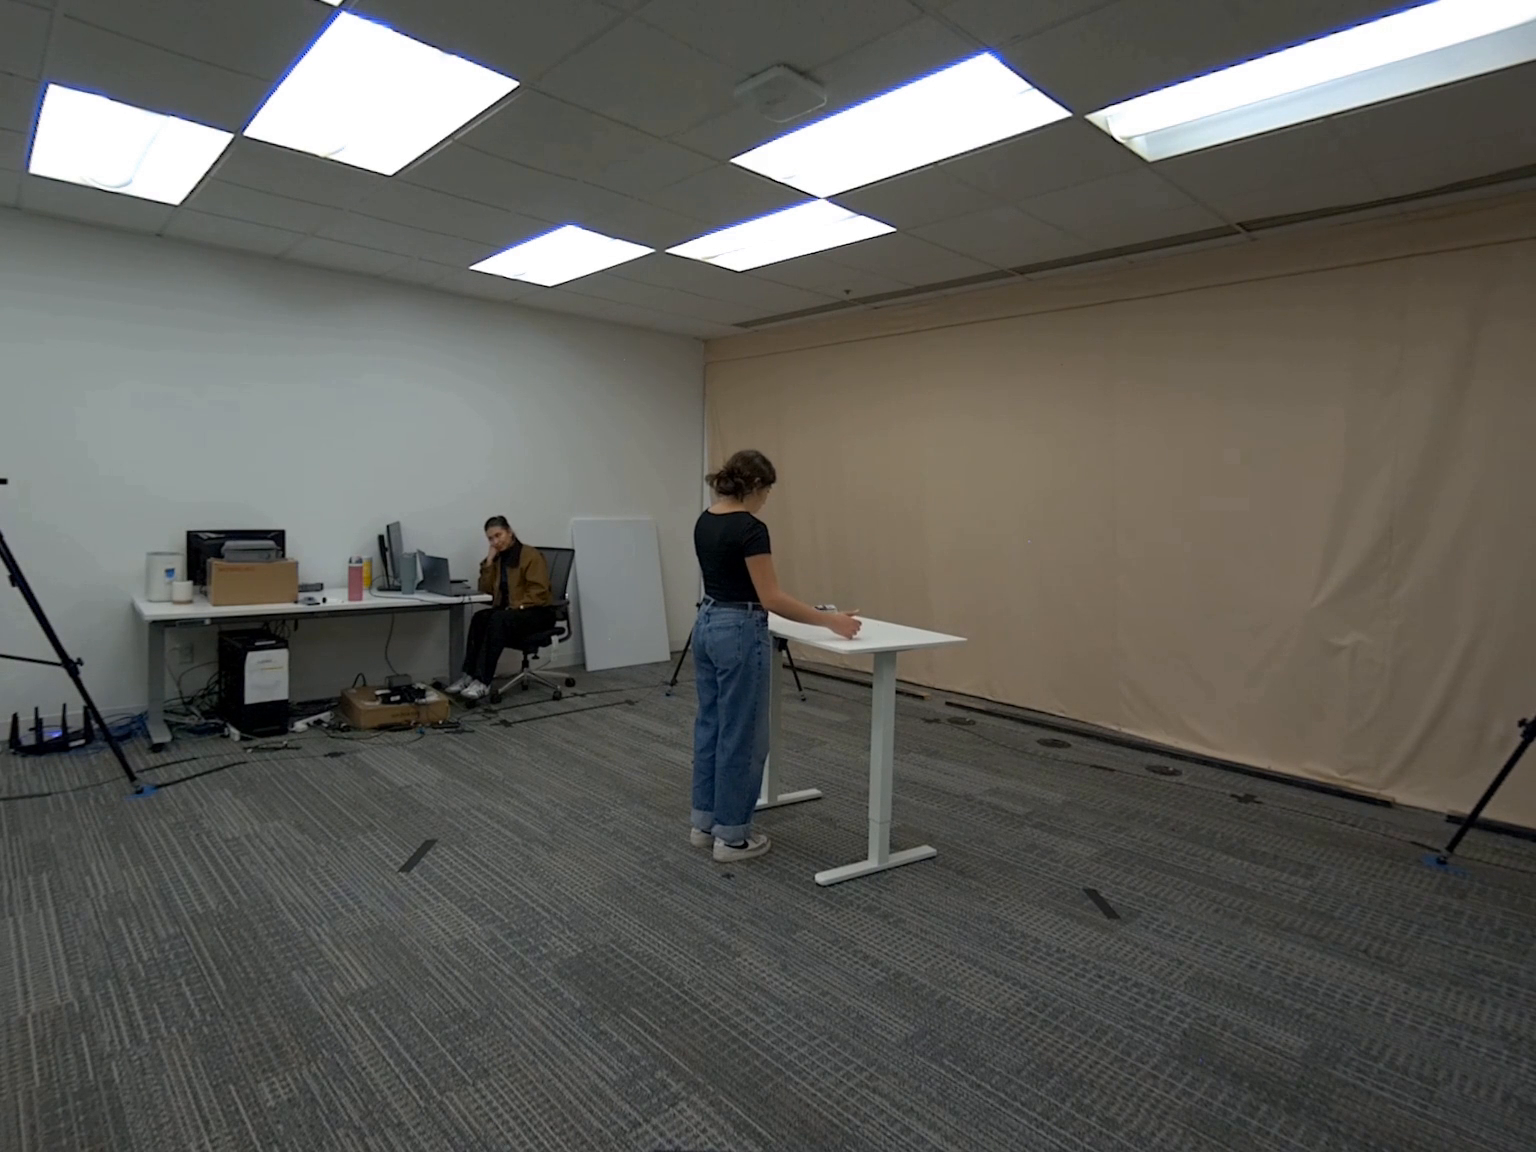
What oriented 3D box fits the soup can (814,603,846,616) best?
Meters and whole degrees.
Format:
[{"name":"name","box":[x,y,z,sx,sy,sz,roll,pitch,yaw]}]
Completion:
[{"name":"soup can","box":[0.224,0.155,3.586,0.119,0.067,0.069,-2,5,-31]}]
